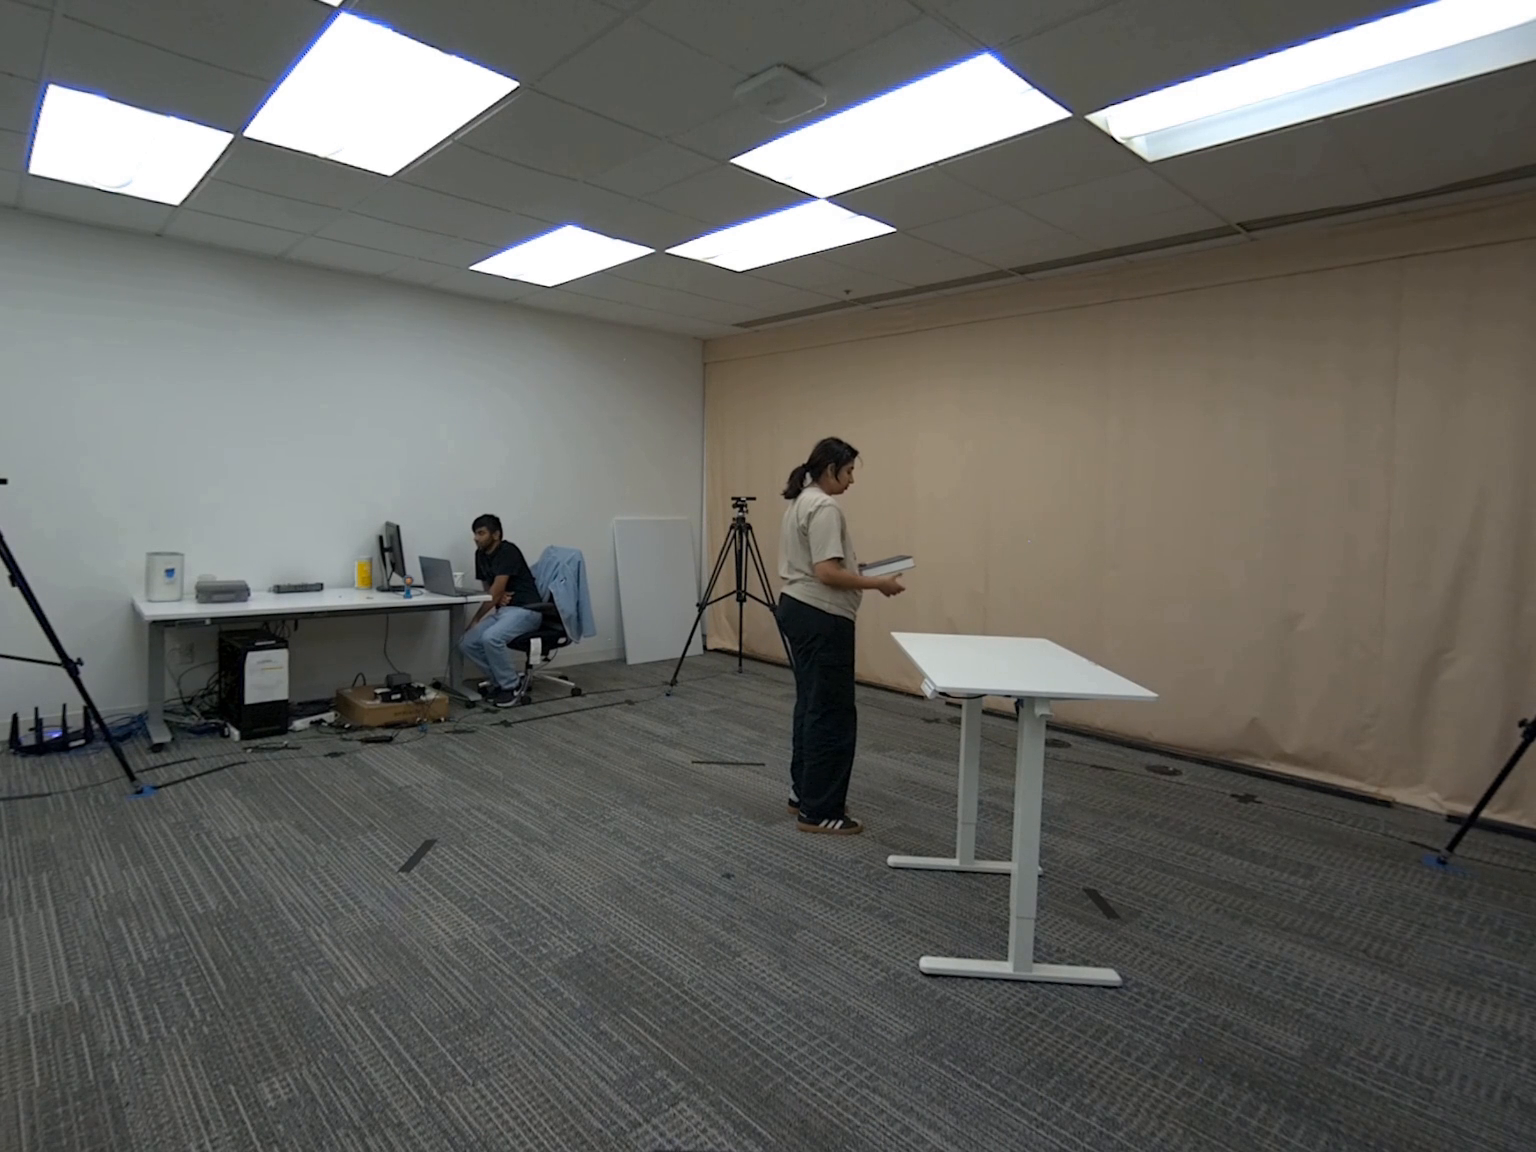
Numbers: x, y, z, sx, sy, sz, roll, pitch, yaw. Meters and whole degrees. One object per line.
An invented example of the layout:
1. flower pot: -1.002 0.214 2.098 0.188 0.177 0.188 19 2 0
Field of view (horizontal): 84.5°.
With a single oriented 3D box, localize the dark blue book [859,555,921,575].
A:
1. dark blue book: 0.520 -0.039 3.745 0.243 0.045 0.165 -15 6 -13
